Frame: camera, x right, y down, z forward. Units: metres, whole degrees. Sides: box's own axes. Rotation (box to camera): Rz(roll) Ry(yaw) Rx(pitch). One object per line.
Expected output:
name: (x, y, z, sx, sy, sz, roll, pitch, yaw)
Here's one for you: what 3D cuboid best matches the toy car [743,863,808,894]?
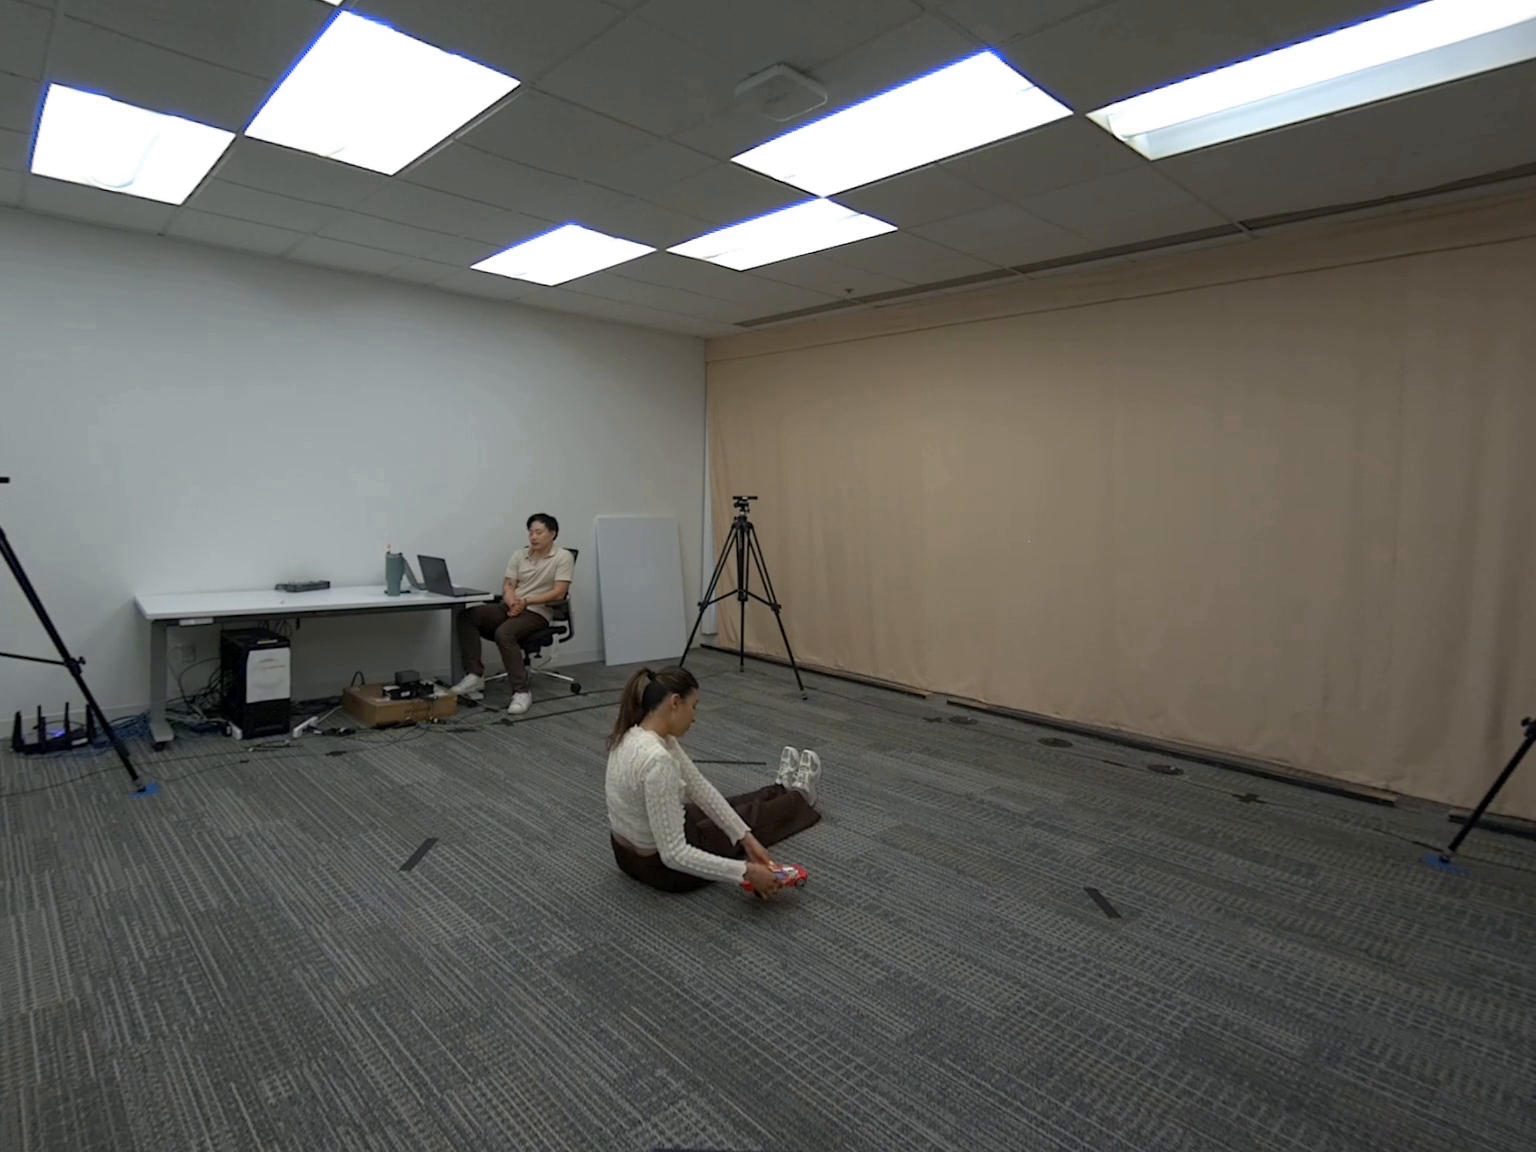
toy car: (0.003, 1.041, 2.878, 0.251, 0.083, 0.132, 5, 3, -19)
